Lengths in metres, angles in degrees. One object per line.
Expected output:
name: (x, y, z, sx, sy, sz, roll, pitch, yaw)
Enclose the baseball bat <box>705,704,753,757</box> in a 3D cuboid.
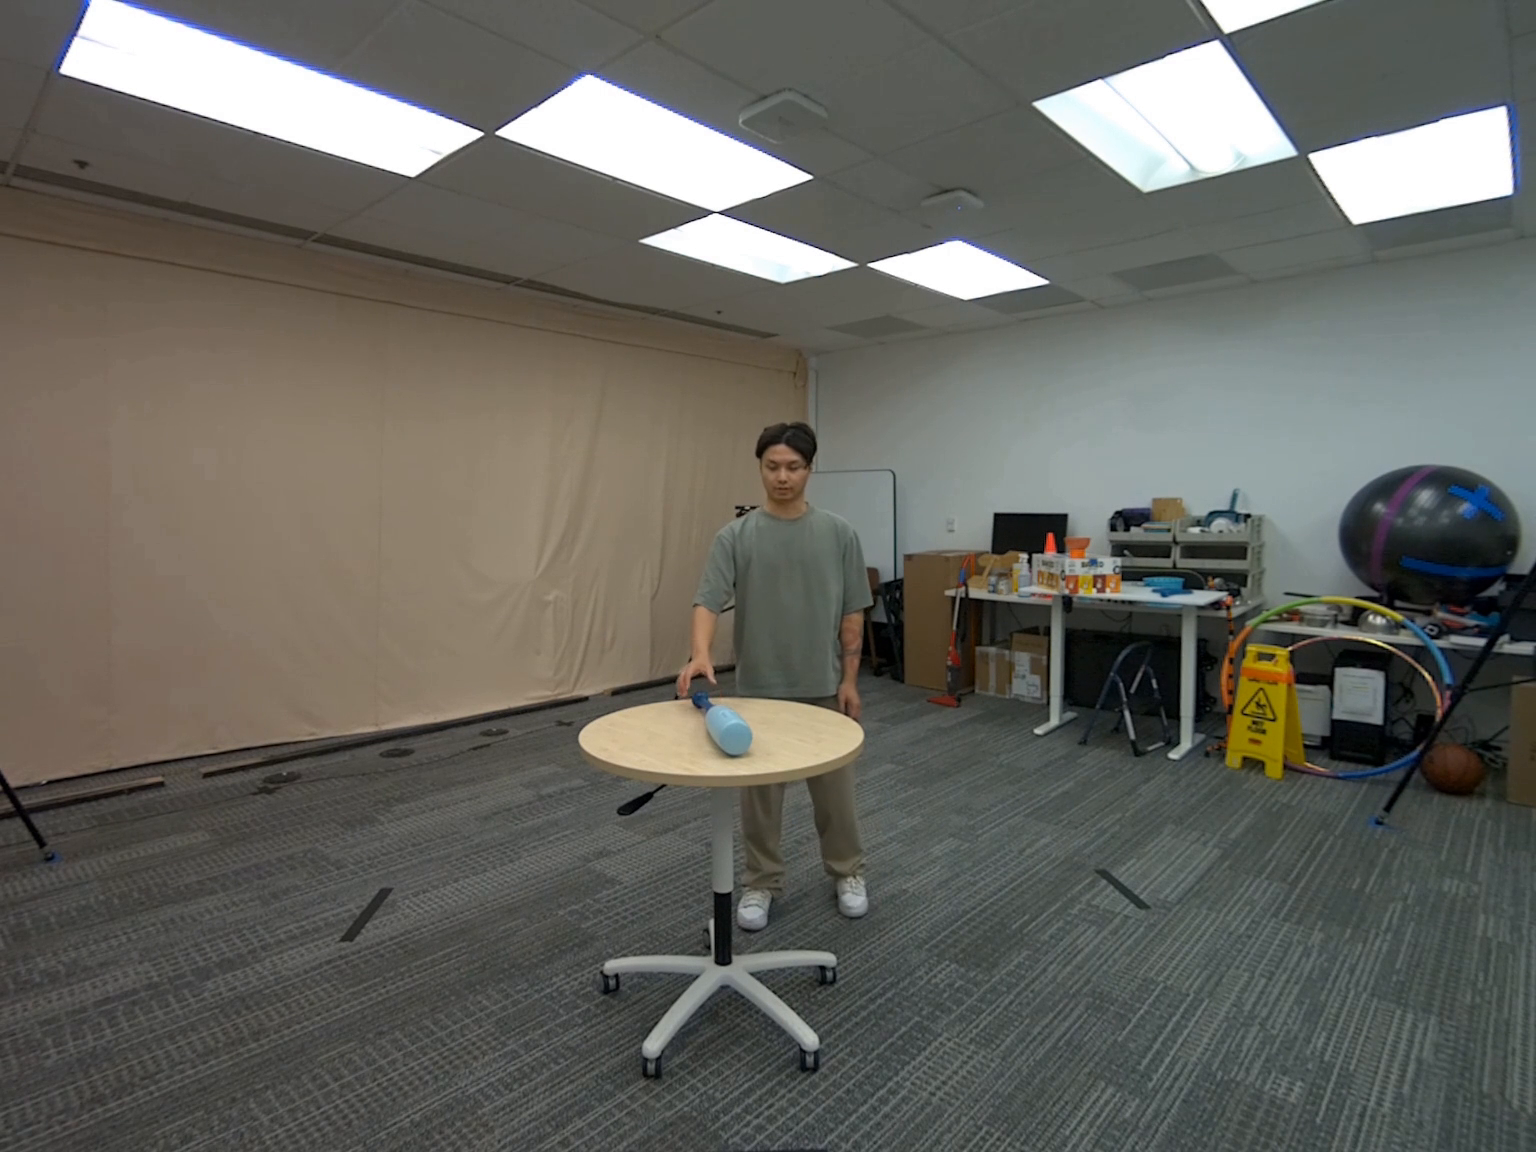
baseball bat: (-0.138, 0.382, 2.280, 0.088, 0.089, 0.551, -1, 2, -16)
